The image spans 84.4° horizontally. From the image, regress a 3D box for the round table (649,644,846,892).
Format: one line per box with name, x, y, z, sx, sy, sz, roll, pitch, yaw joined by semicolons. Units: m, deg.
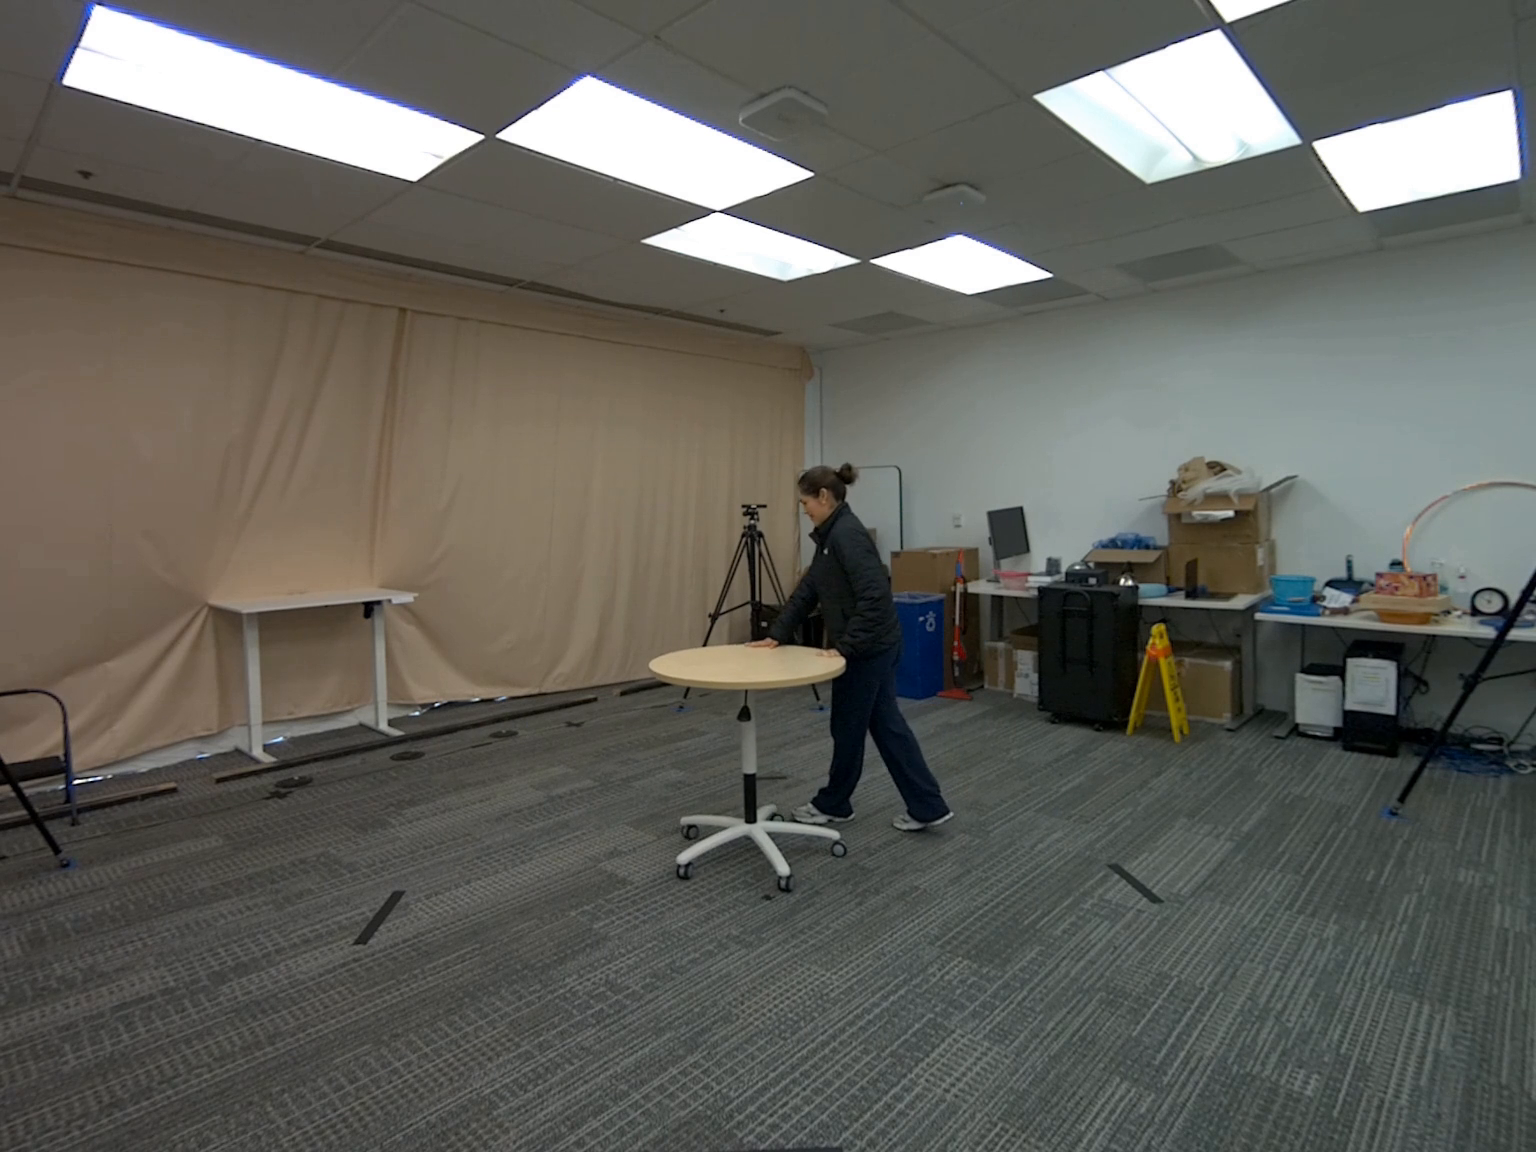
round table;-0.051;0.719;3.324;0.784;0.785;0.788;-1;4;-2
